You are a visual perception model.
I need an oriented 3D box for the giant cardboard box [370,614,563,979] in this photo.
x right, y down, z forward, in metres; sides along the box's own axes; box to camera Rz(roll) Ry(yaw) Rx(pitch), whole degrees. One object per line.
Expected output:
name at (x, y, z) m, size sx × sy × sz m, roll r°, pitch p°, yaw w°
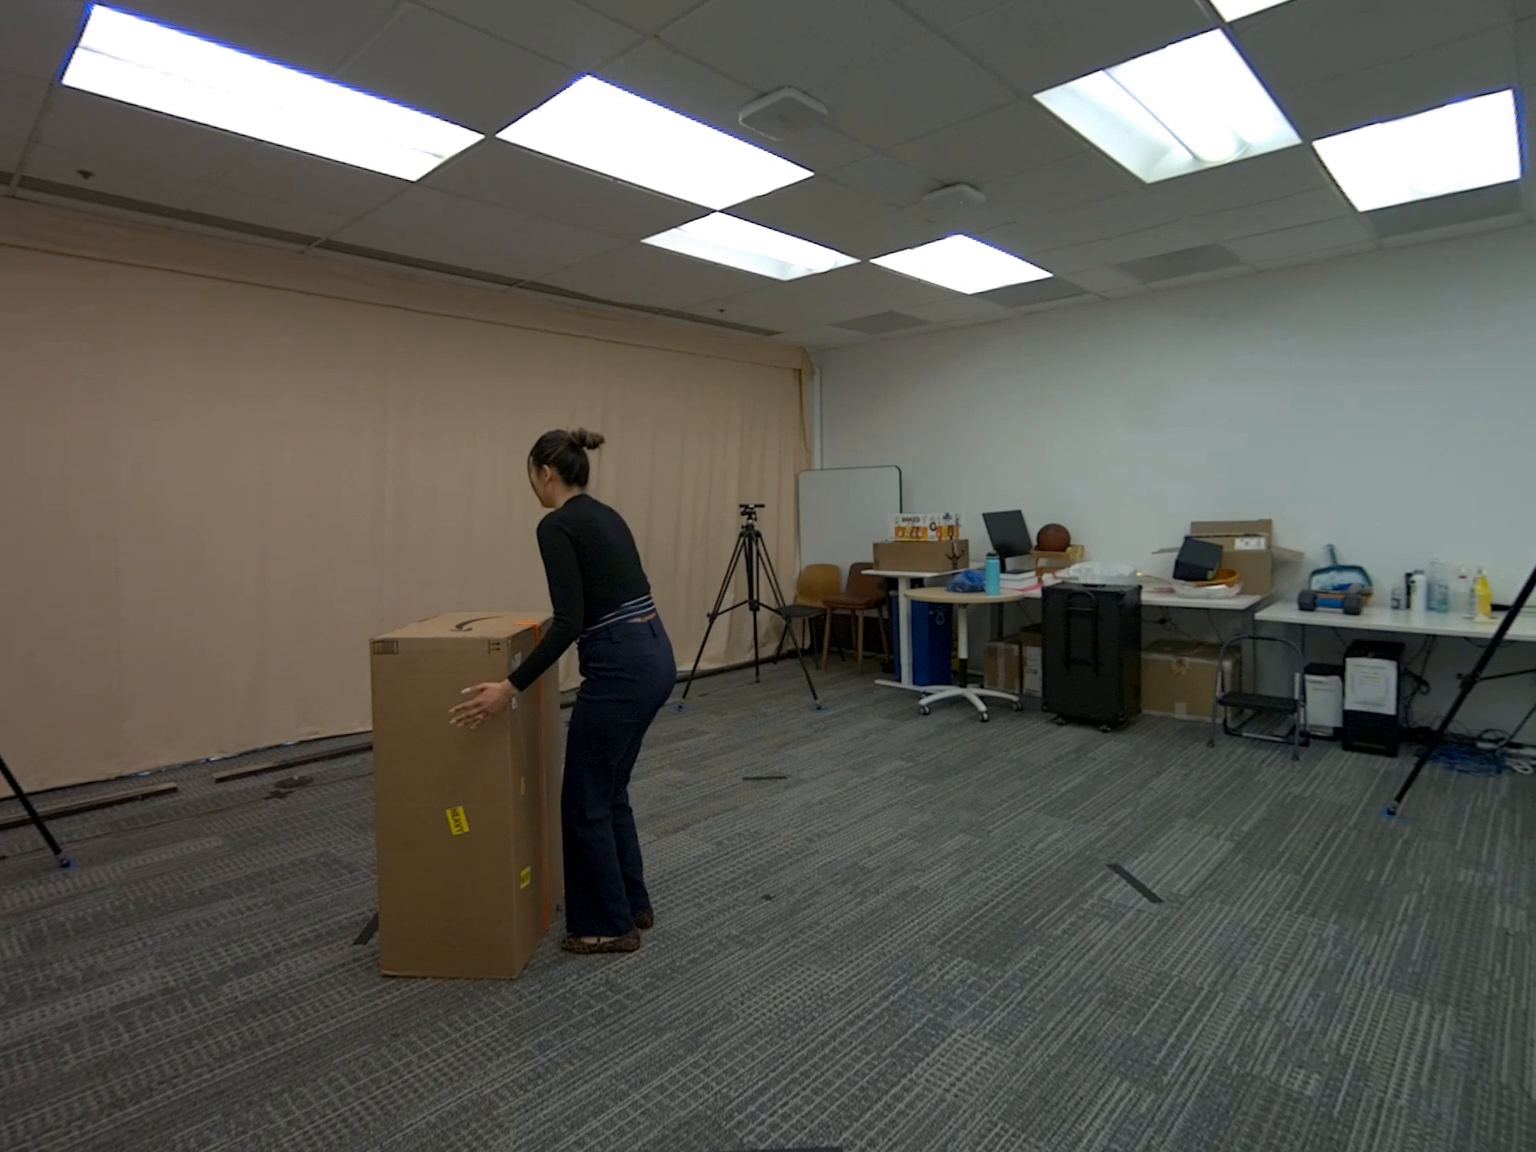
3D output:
giant cardboard box at (-0.965, 0.674, 2.768) m, size 0.427 × 1.024 × 0.577 m, roll -2°, pitch 2°, yaw 1°
